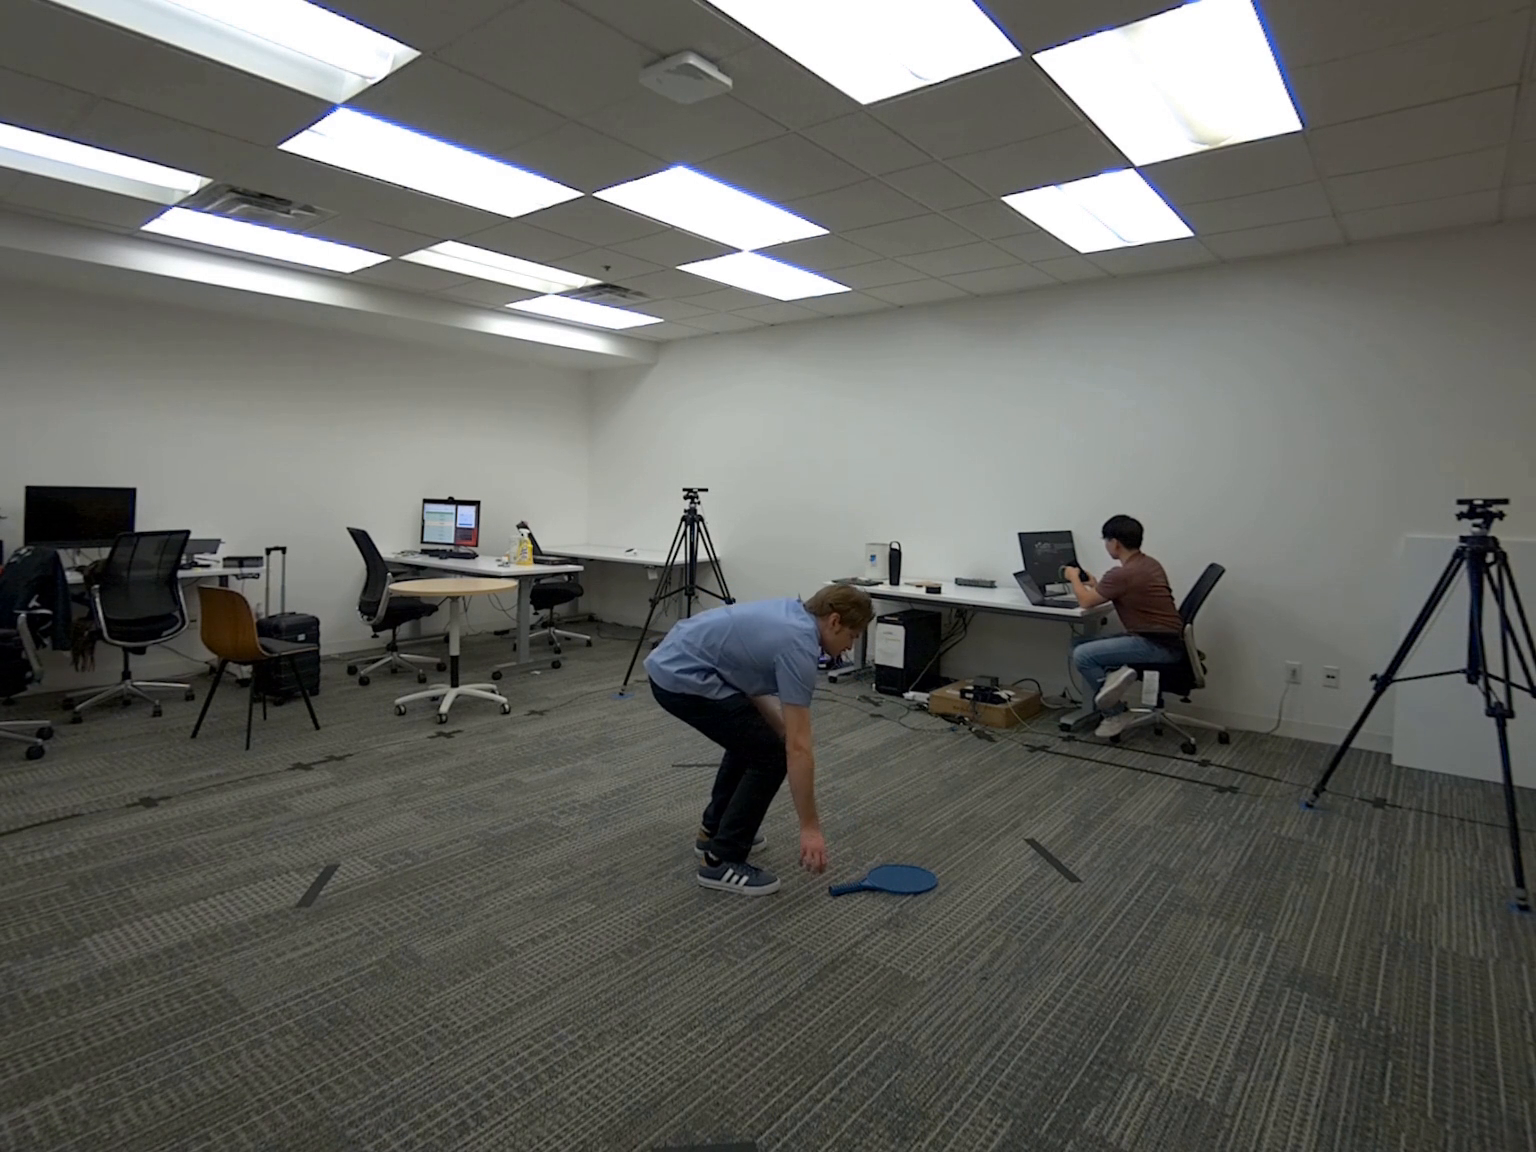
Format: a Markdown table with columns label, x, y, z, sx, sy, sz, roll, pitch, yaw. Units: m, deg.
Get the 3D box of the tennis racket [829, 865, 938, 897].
| label | x | y | z | sx | sy | sz | roll | pitch | yaw |
| --- | --- | --- | --- | --- | --- | --- | --- | --- | --- |
| tennis racket | 0.403 | 1.080 | 3.016 | 0.422 | 0.031 | 0.220 | 0 | 6 | -27 |
